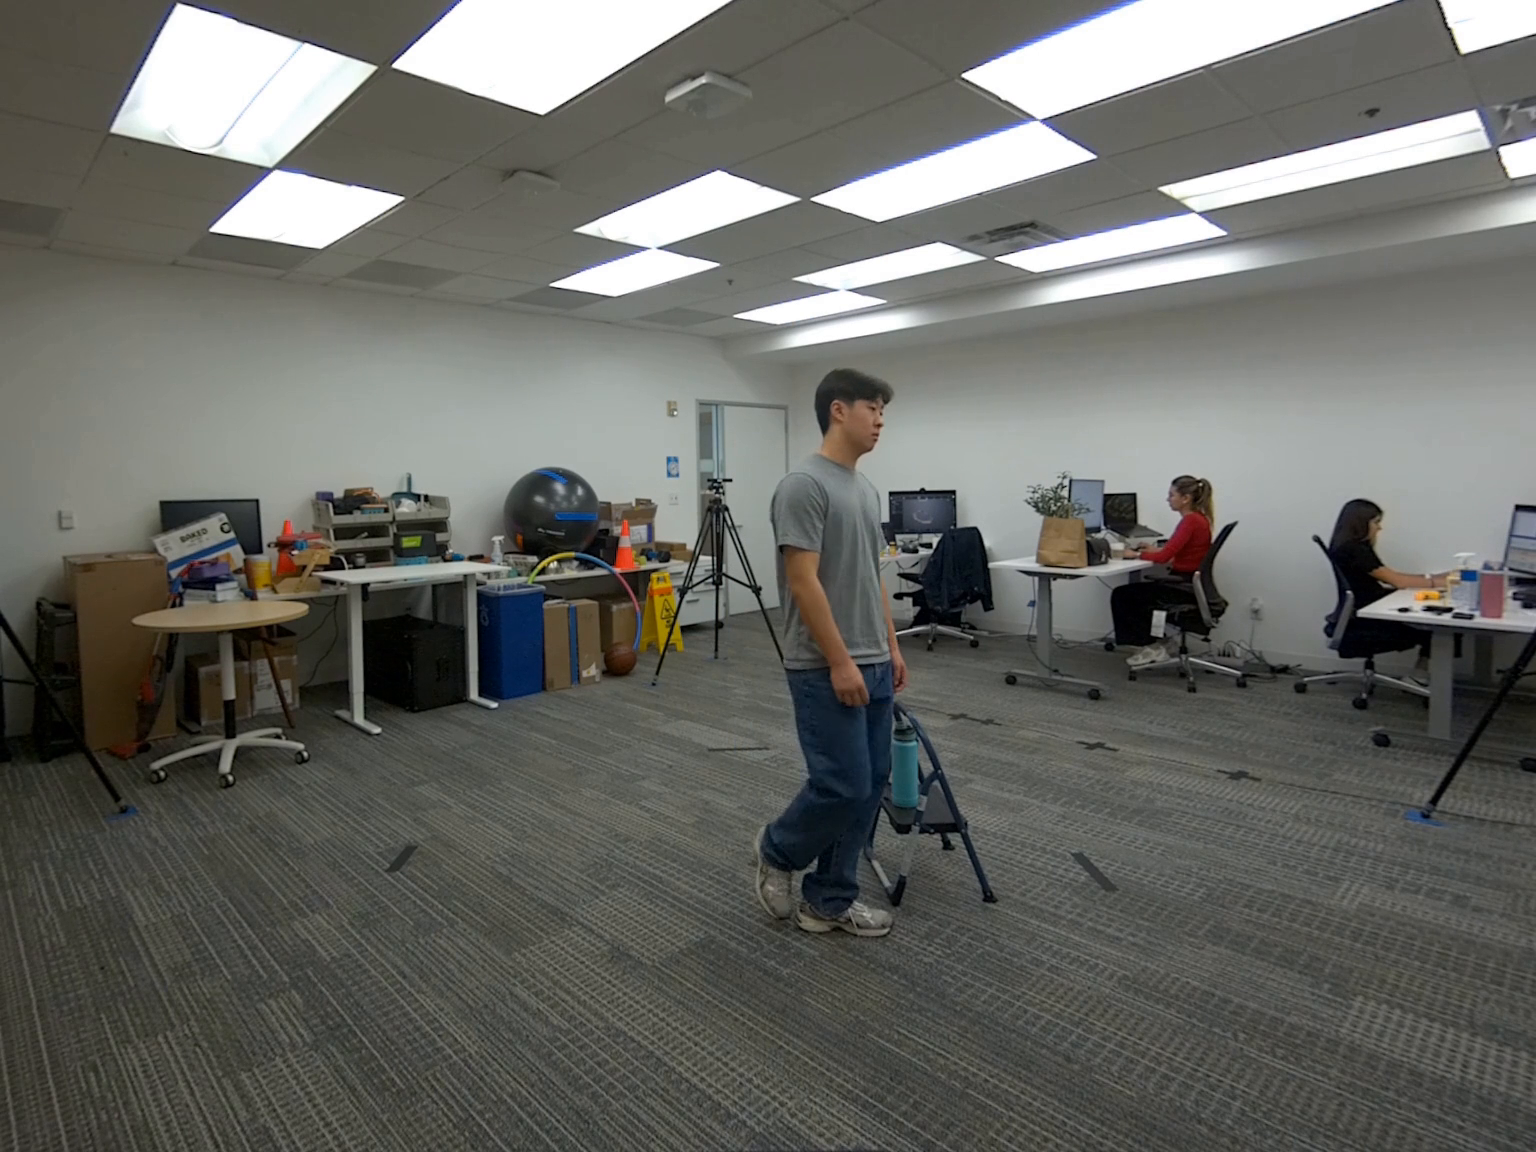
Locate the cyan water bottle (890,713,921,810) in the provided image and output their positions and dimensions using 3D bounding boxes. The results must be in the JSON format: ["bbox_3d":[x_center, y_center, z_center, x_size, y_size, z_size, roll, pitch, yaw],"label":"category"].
[{"bbox_3d":[0.484,0.652,2.958,0.092,0.283,0.092,0,2,-2],"label":"cyan water bottle"}]
